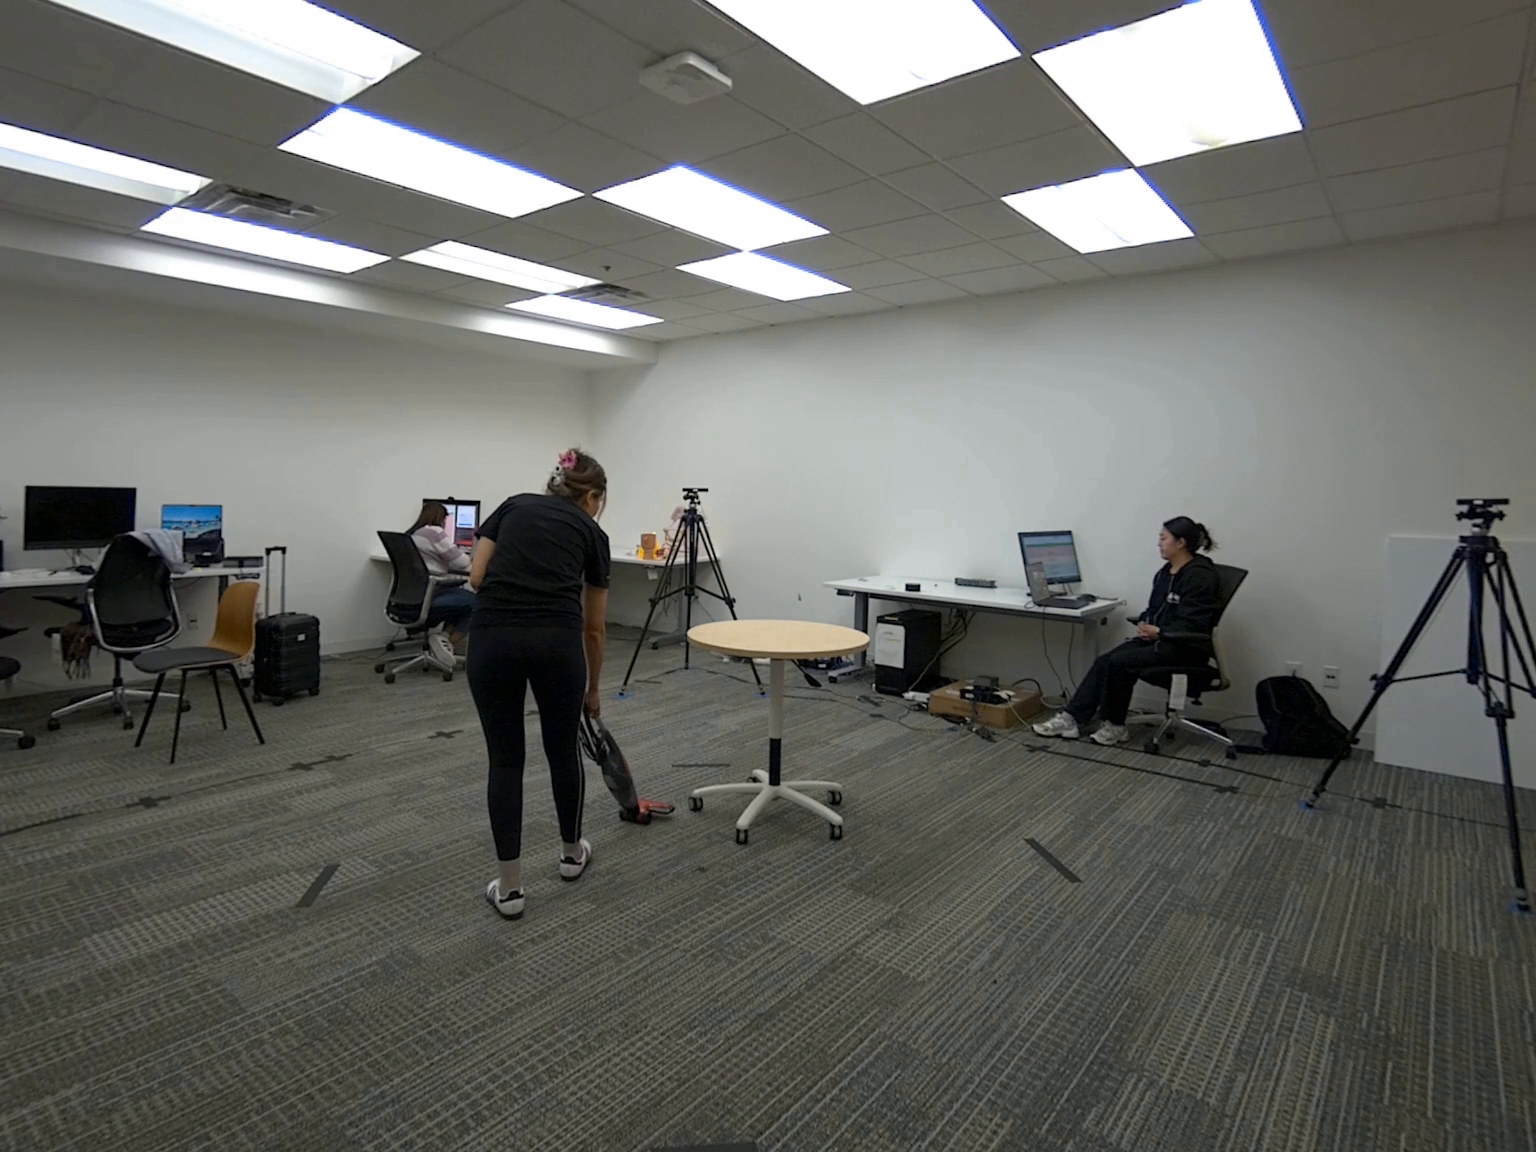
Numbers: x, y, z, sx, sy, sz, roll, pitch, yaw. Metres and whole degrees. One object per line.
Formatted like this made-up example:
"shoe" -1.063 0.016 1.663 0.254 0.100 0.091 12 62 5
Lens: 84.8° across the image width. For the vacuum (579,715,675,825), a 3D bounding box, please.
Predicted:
"vacuum" -0.665 0.623 3.286 0.258 1.012 0.146 1 42 23
